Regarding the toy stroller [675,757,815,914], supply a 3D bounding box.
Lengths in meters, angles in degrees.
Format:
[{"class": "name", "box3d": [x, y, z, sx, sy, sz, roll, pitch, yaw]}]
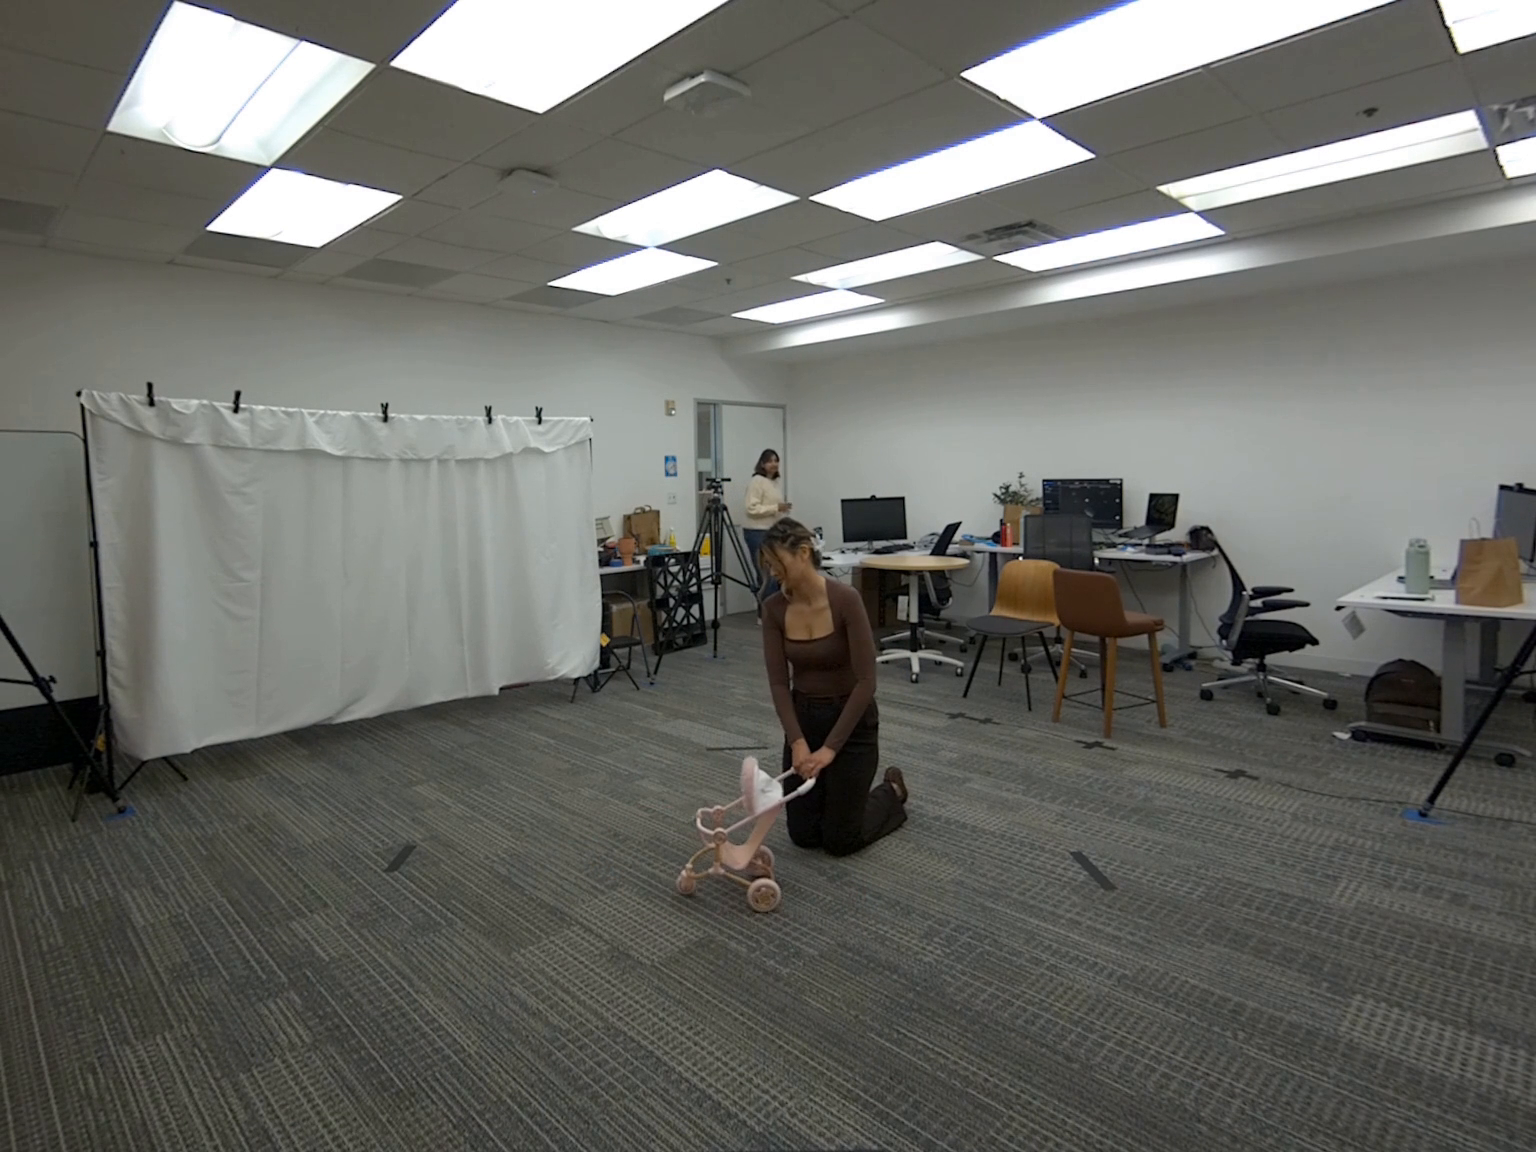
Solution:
[{"class": "toy stroller", "box3d": [-0.099, 0.853, 2.866, 0.342, 0.533, 0.282, 15, 5, 1]}]
